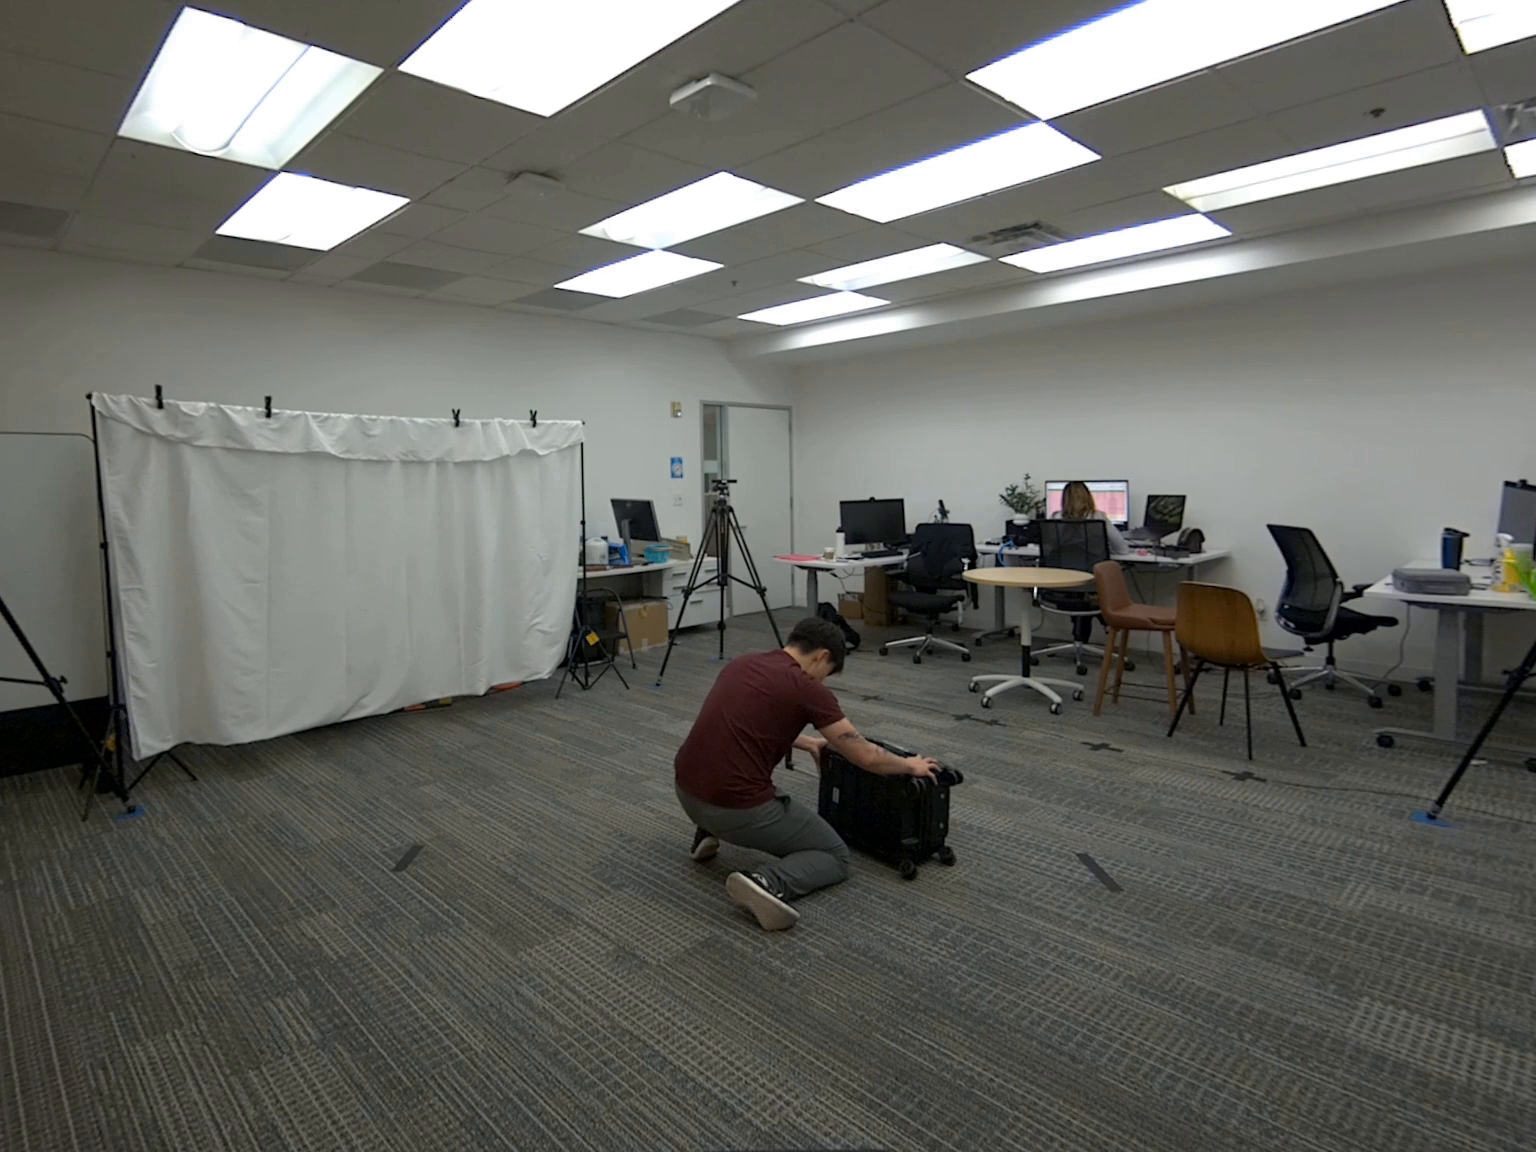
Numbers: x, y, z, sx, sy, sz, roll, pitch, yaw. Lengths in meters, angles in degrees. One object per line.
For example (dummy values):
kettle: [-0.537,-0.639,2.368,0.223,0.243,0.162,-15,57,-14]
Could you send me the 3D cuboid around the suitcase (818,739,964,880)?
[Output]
suitcase: [0.307,0.813,3.404,0.250,0.383,1.008,1,4,-37]
